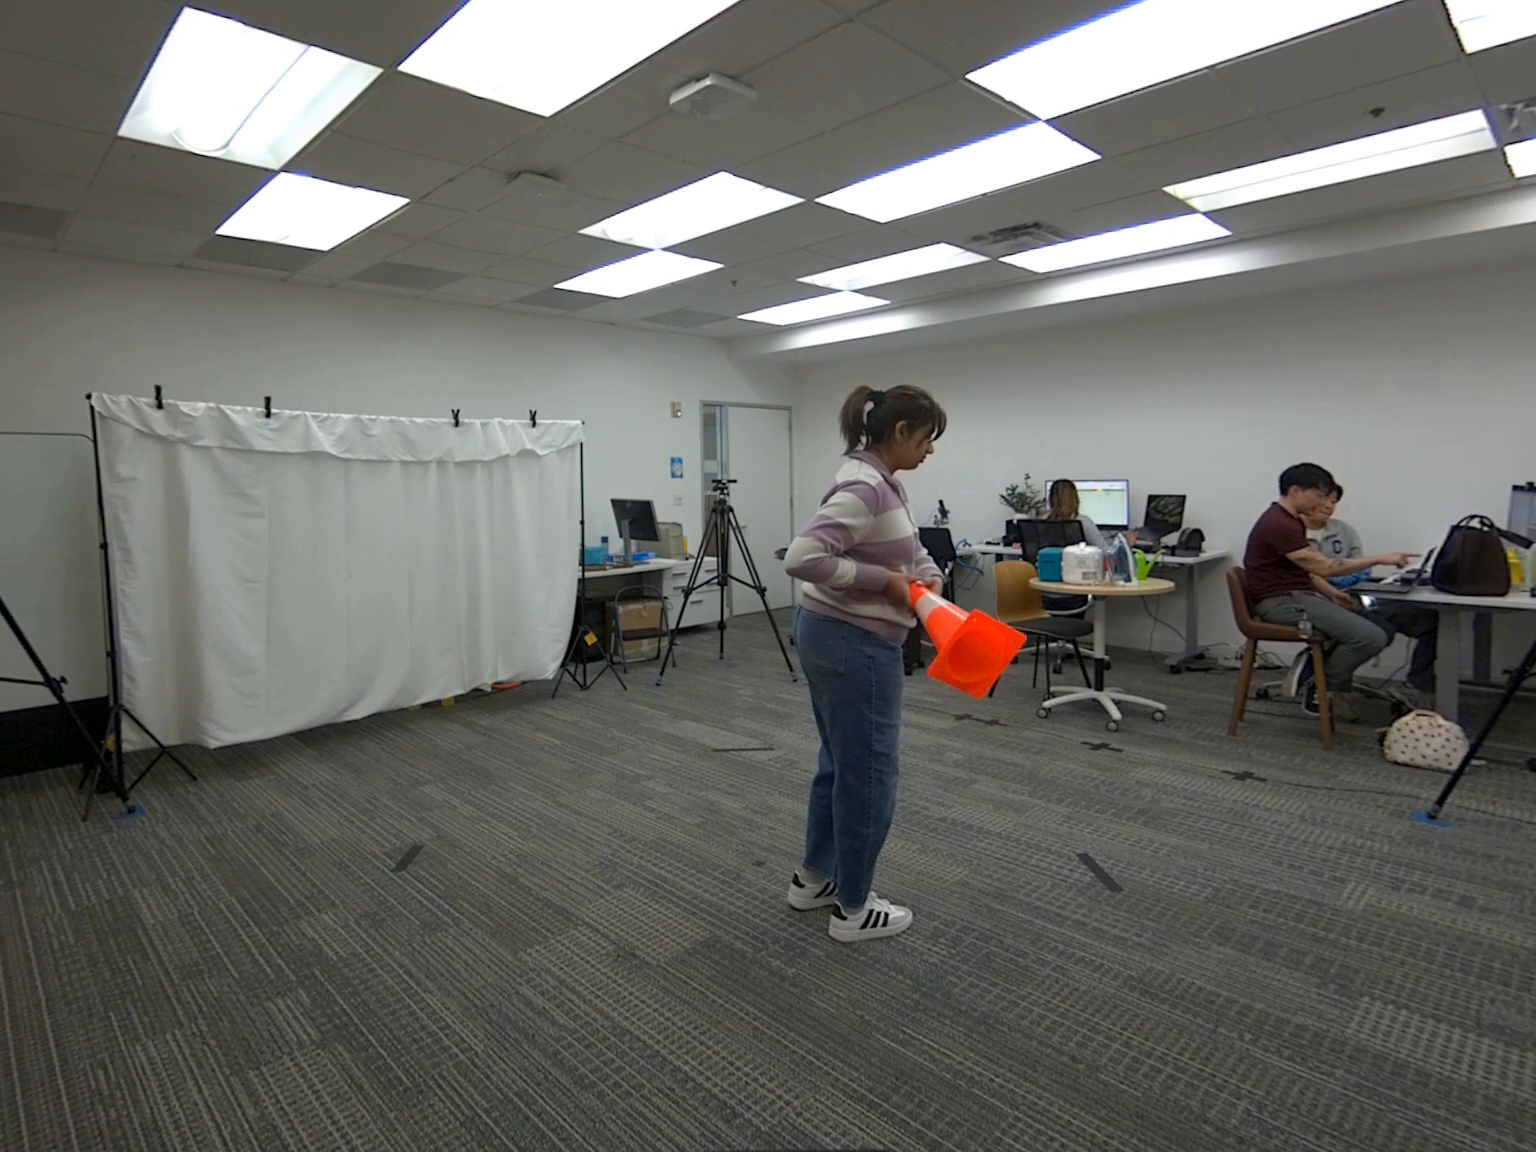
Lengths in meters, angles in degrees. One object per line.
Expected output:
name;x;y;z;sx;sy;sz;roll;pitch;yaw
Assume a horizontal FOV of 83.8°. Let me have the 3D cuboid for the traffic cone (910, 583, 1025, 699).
traffic cone;0.471;0.111;2.233;0.200;0.202;0.395;17;21;-20
